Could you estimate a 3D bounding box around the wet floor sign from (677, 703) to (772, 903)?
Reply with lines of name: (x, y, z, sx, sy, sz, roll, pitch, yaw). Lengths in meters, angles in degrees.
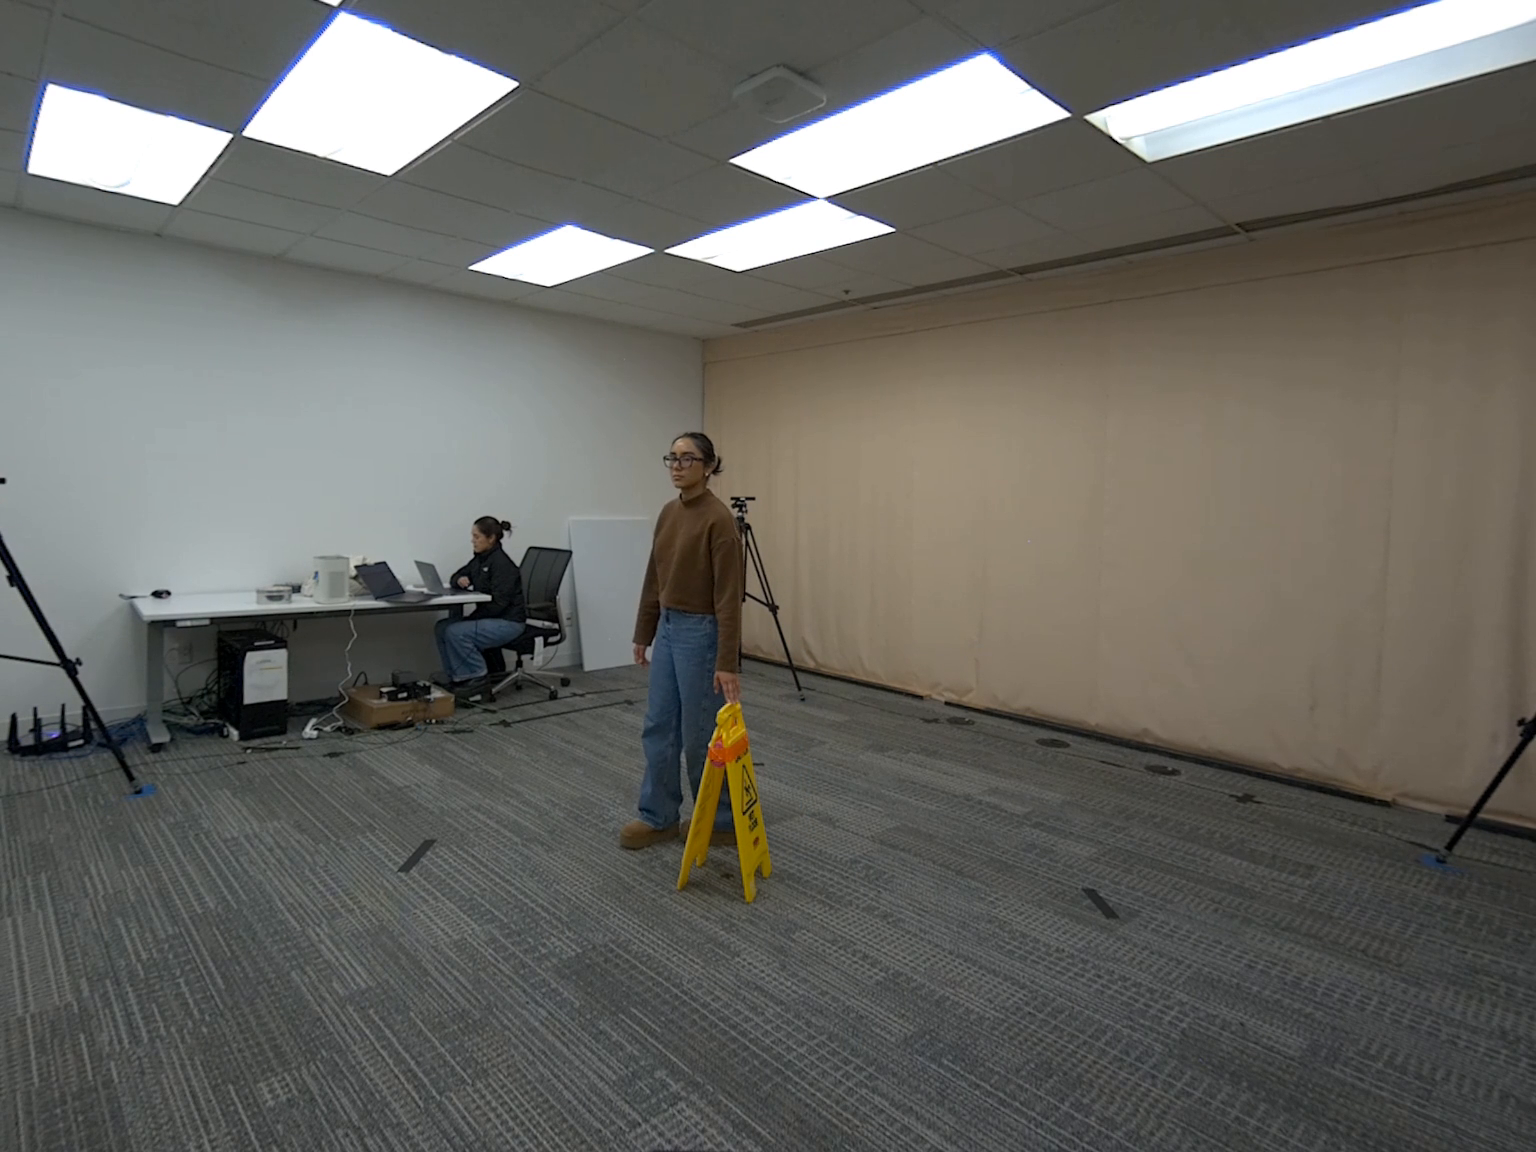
wet floor sign: (-0.150, 0.788, 3.044, 0.294, 0.644, 0.279, 3, 4, 16)
